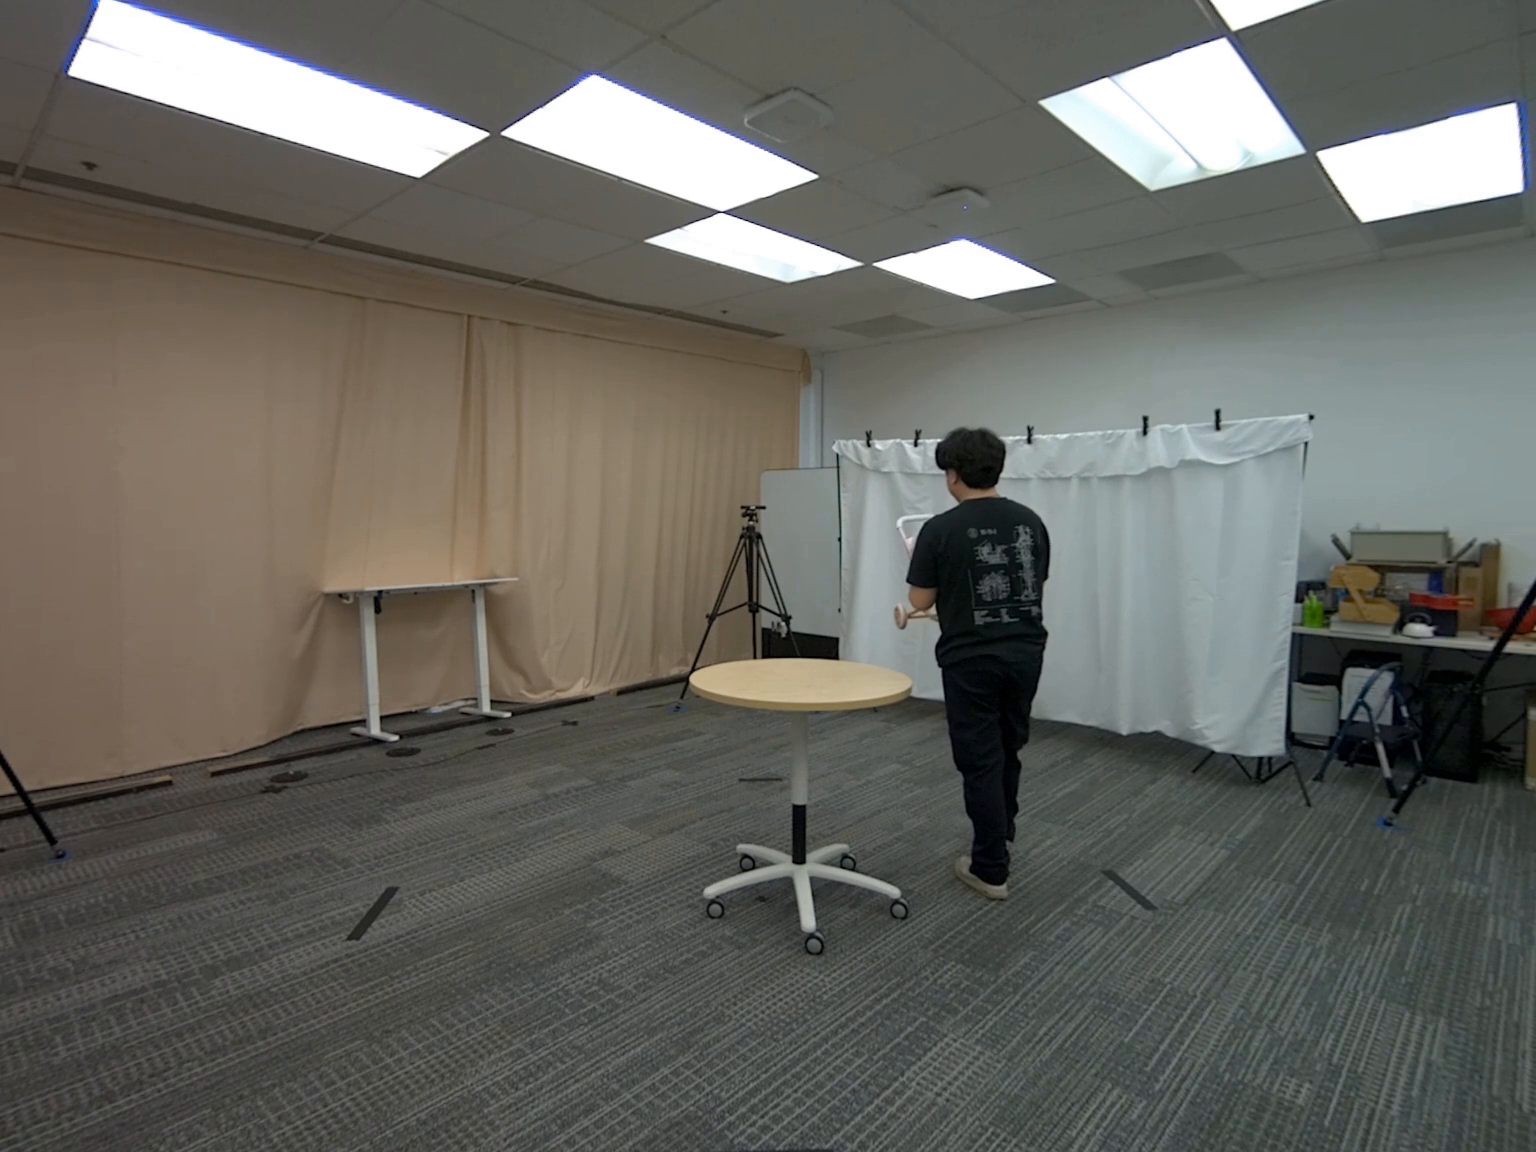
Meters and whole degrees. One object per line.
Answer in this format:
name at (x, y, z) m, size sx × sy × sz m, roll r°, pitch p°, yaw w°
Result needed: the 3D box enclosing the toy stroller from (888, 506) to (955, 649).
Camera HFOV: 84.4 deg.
toy stroller at (0.698, 0.003, 3.431) m, size 0.279 × 0.536 × 0.343 m, roll -4°, pitch -3°, yaw -8°
